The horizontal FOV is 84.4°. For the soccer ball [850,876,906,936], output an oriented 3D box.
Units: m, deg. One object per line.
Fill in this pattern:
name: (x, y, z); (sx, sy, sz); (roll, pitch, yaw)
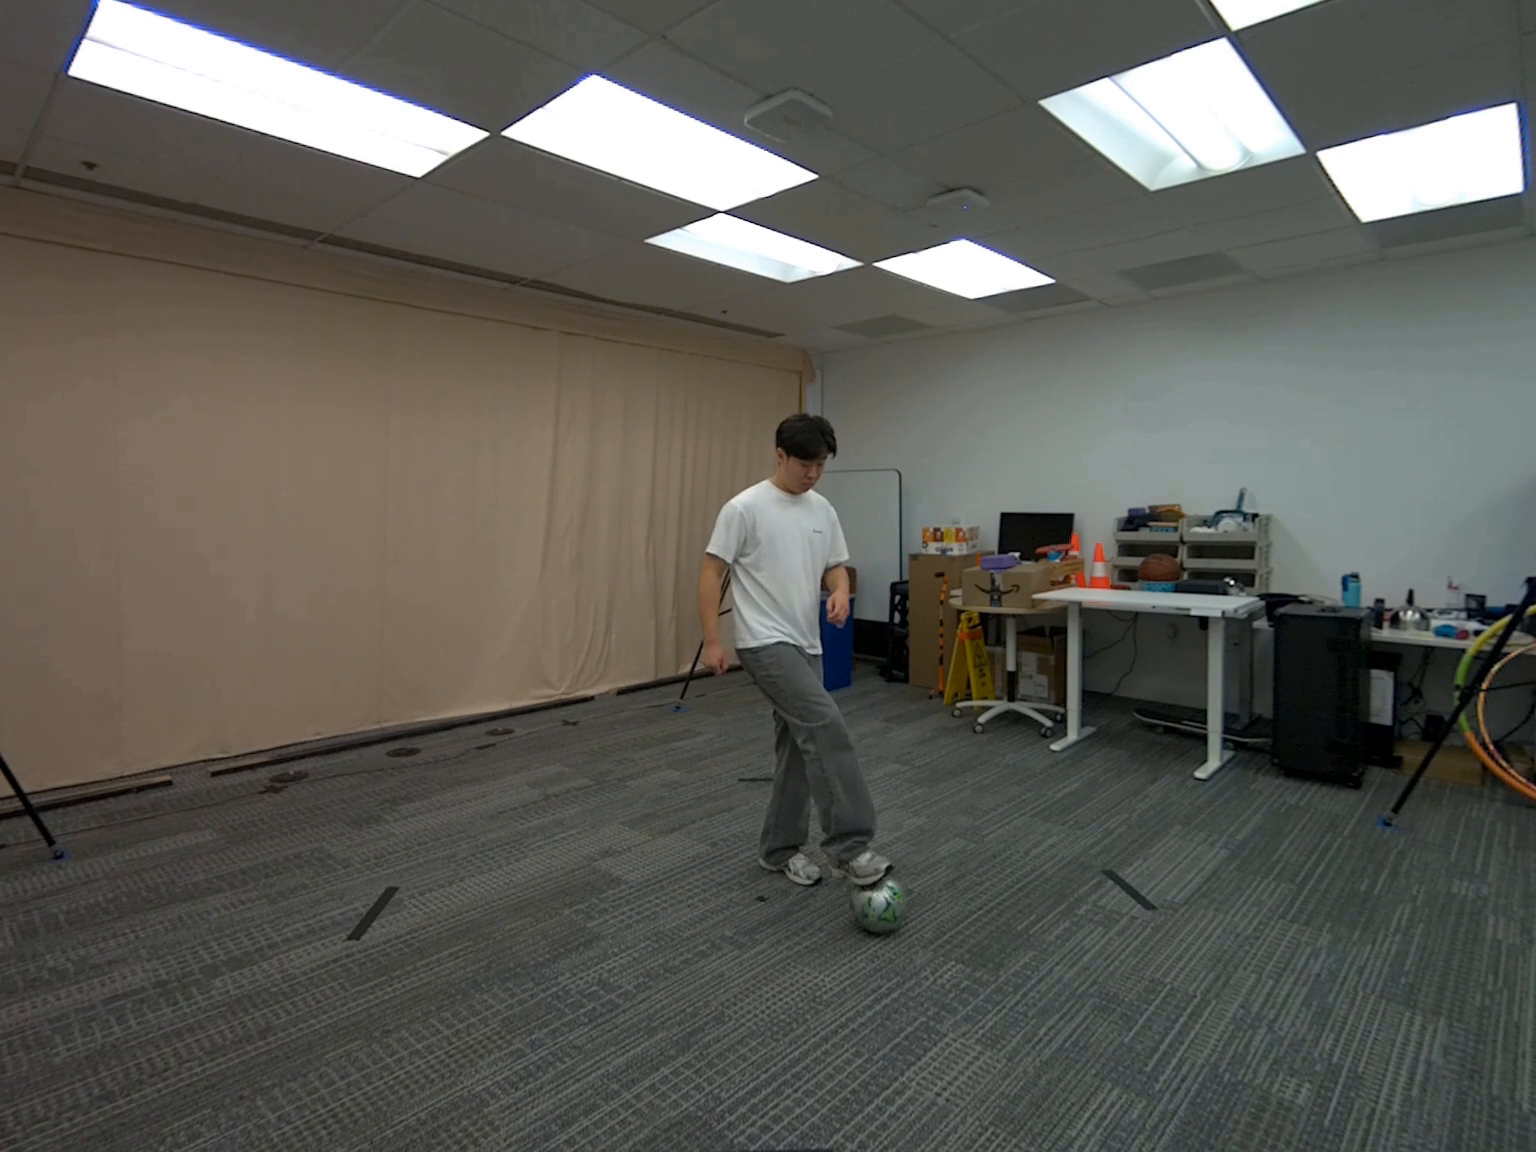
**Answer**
soccer ball: (0.332, 1.065, 2.771); (0.187, 0.187, 0.188); (0, 4, -2)
